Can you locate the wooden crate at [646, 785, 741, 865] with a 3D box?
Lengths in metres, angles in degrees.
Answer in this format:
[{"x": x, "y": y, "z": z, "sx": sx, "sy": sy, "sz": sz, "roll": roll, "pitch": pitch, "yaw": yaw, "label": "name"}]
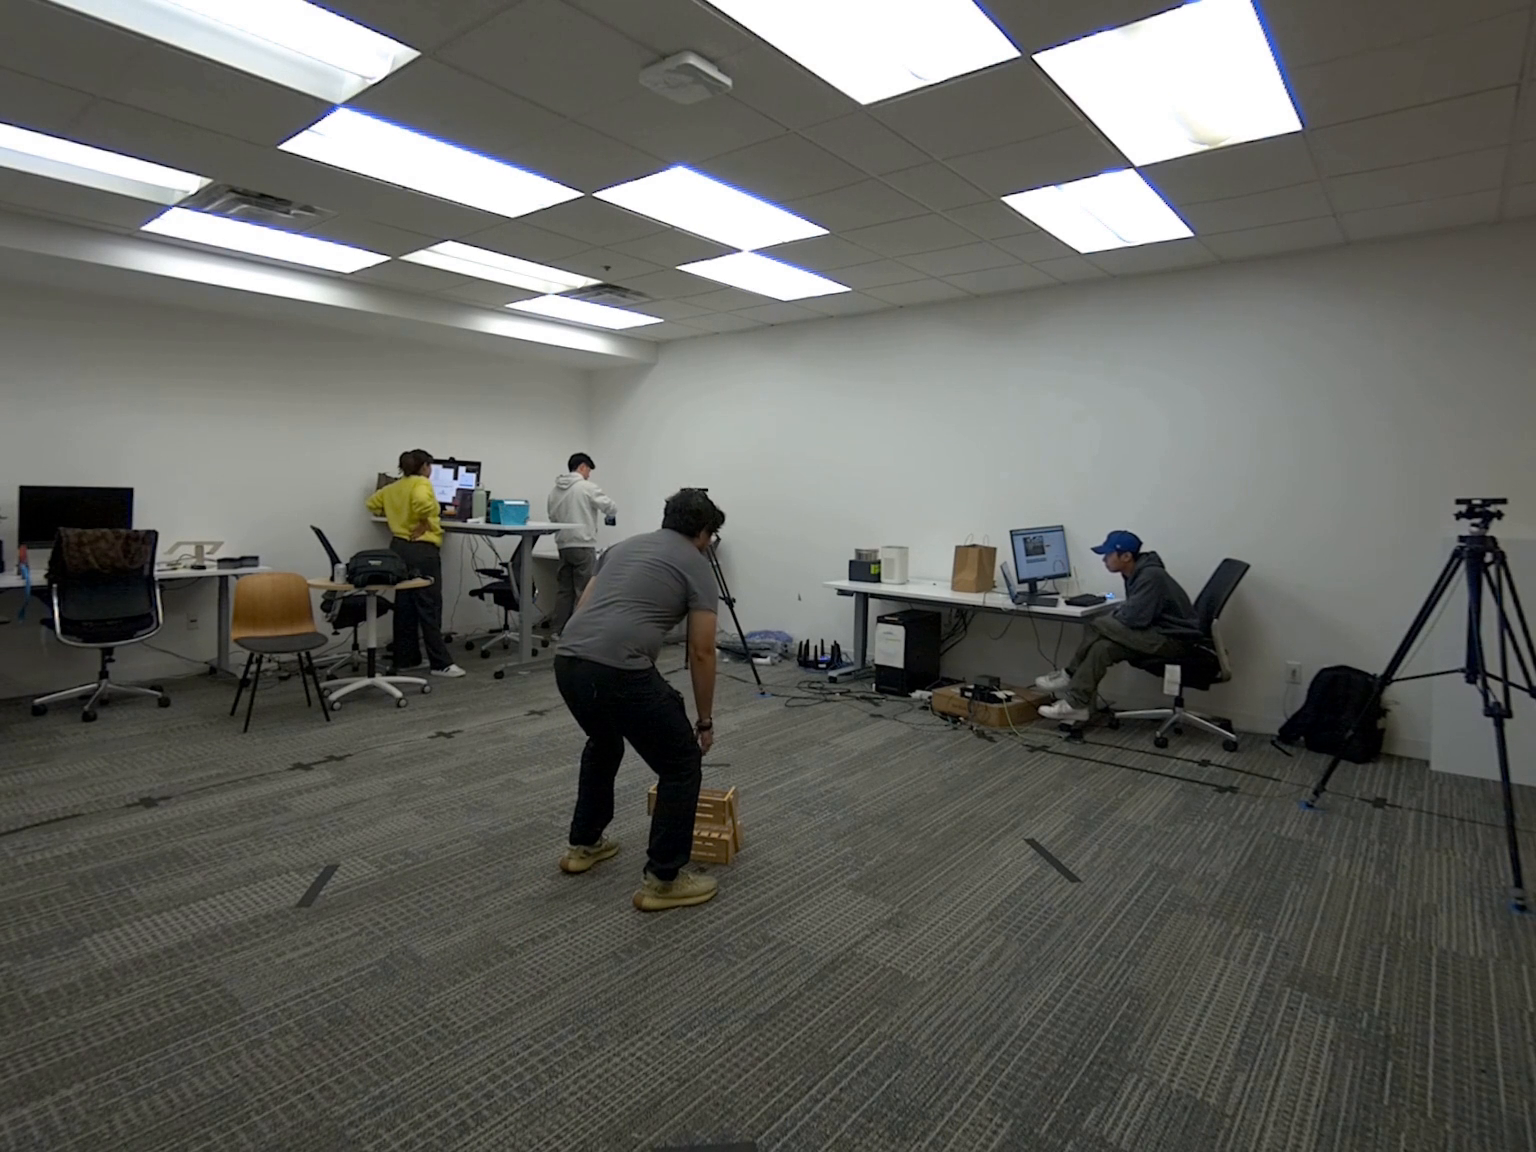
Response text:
[{"x": -0.287, "y": 0.916, "z": 3.283, "sx": 0.329, "sy": 0.272, "sz": 0.299, "roll": 2, "pitch": 5, "yaw": 12, "label": "wooden crate"}]
